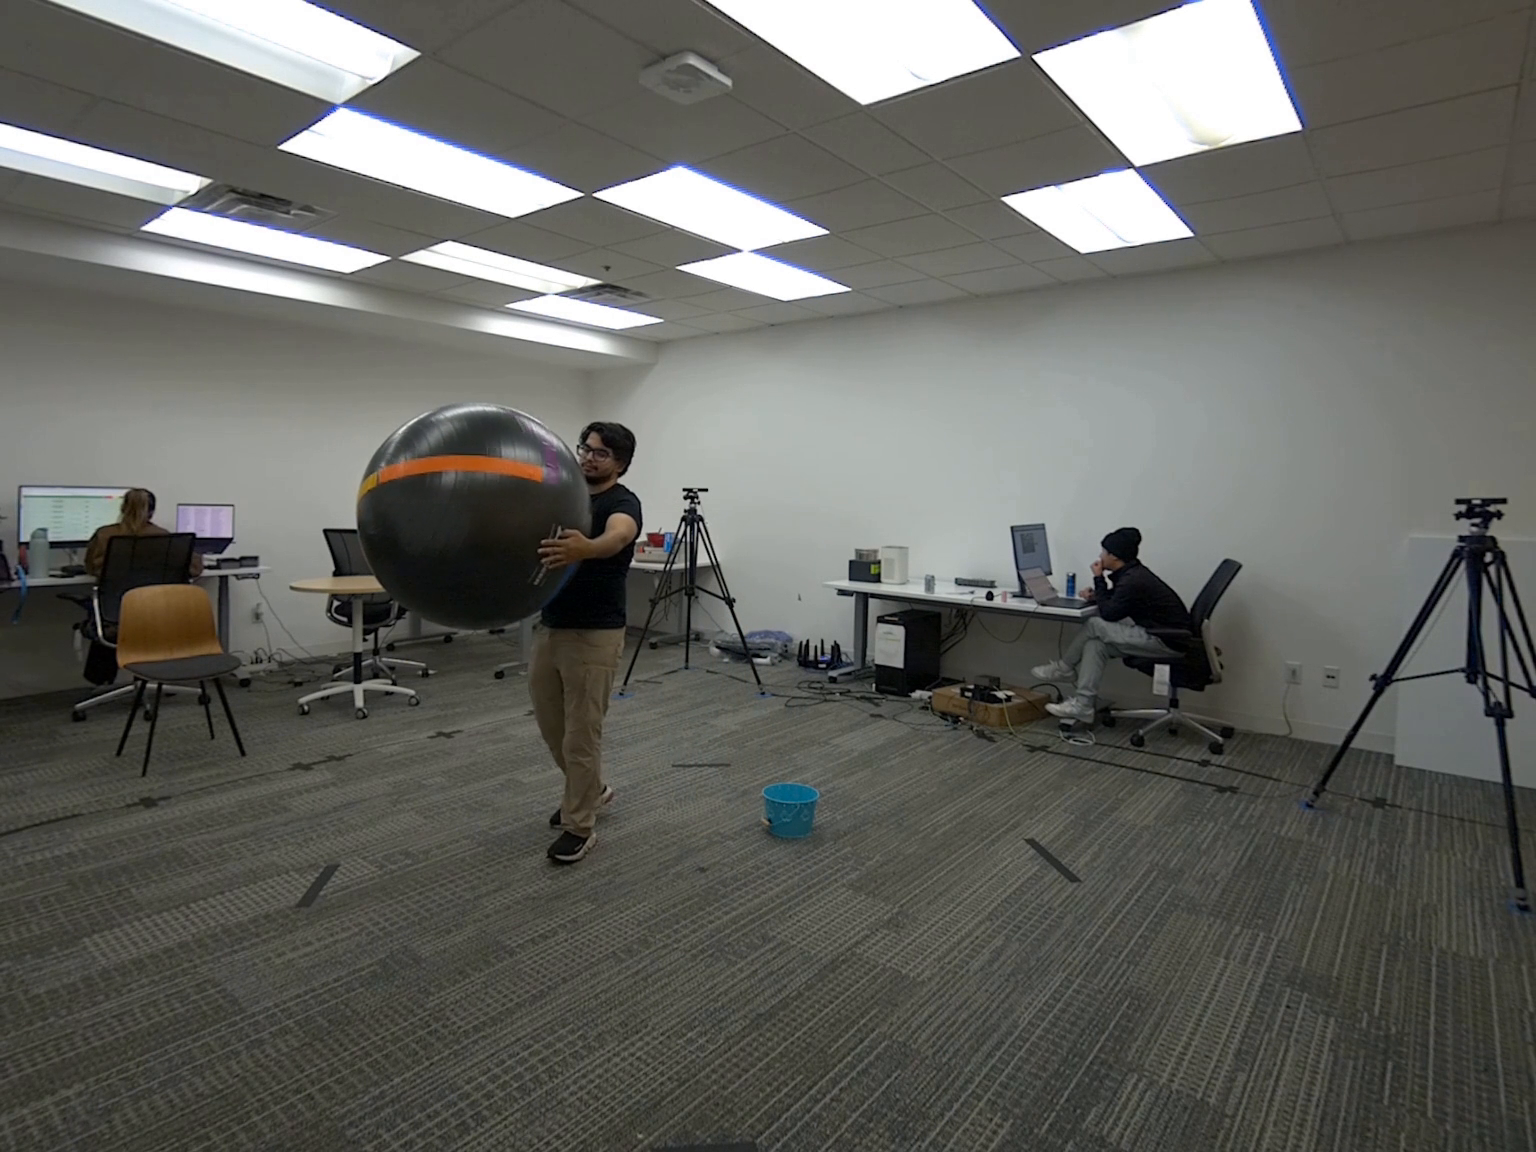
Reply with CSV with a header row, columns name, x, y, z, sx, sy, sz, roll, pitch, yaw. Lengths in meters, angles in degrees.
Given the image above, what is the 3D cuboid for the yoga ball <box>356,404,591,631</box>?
name,x,y,z,sx,sy,sz,roll,pitch,yaw
yoga ball,-1.000,-0.195,2.841,0.757,0.755,0.762,1,4,-2
